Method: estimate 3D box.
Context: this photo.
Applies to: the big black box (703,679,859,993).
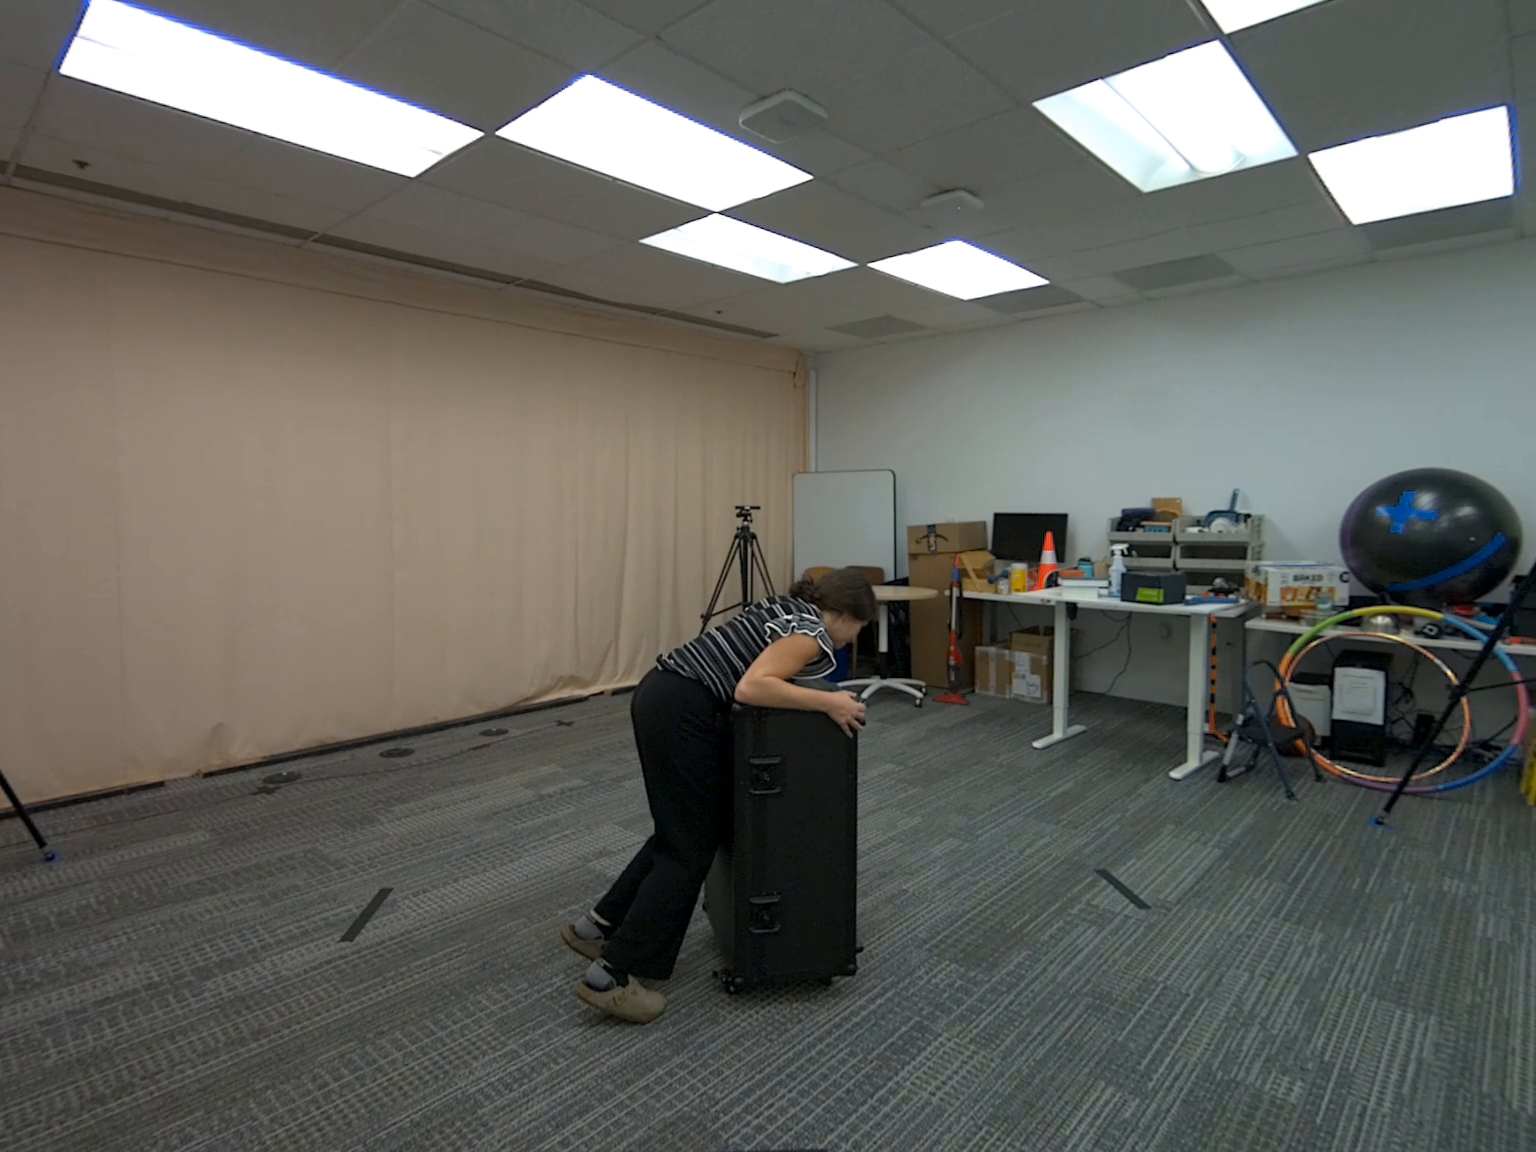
[{"bbox_3d":[0.036,0.764,2.563,0.391,0.860,0.529,1,3,-12],"label":"big black box"}]
